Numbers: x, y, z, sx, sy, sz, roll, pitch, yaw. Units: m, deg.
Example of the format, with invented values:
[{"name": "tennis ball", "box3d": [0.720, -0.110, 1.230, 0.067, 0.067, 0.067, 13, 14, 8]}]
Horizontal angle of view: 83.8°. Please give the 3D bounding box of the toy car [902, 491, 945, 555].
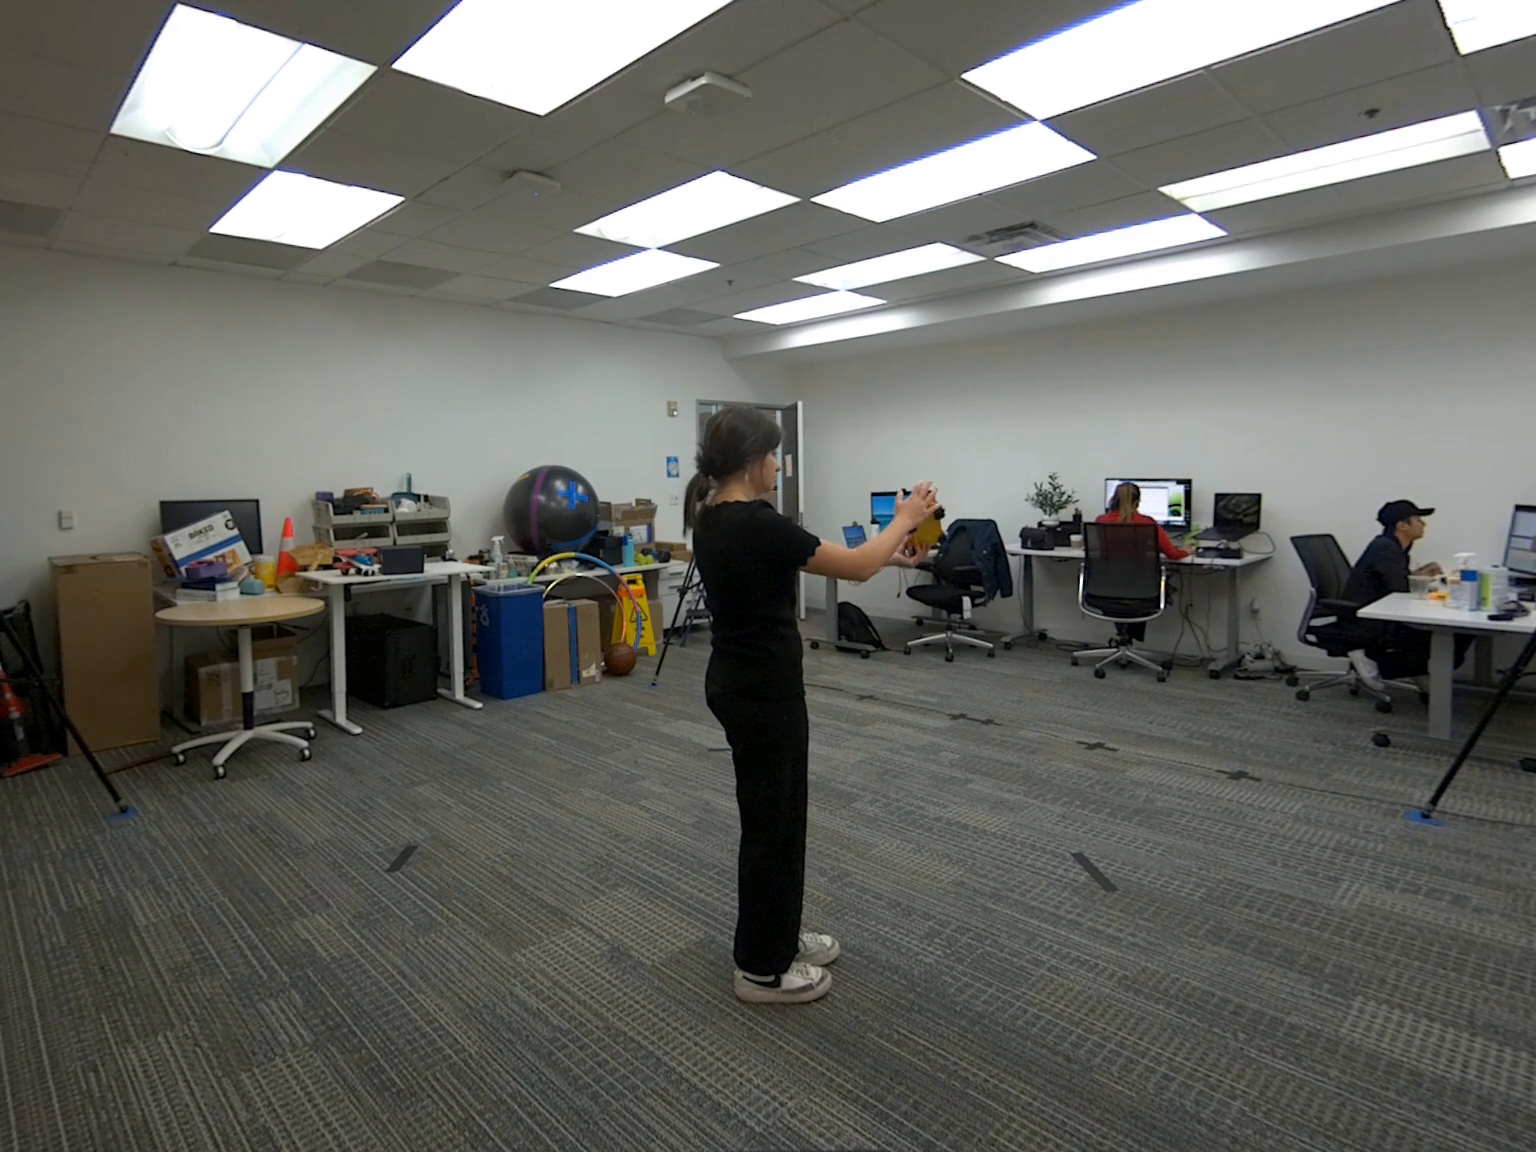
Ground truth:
[{"name": "toy car", "box3d": [0.462, -0.136, 2.451, 0.130, 0.245, 0.086, -26, 48, 0]}]
